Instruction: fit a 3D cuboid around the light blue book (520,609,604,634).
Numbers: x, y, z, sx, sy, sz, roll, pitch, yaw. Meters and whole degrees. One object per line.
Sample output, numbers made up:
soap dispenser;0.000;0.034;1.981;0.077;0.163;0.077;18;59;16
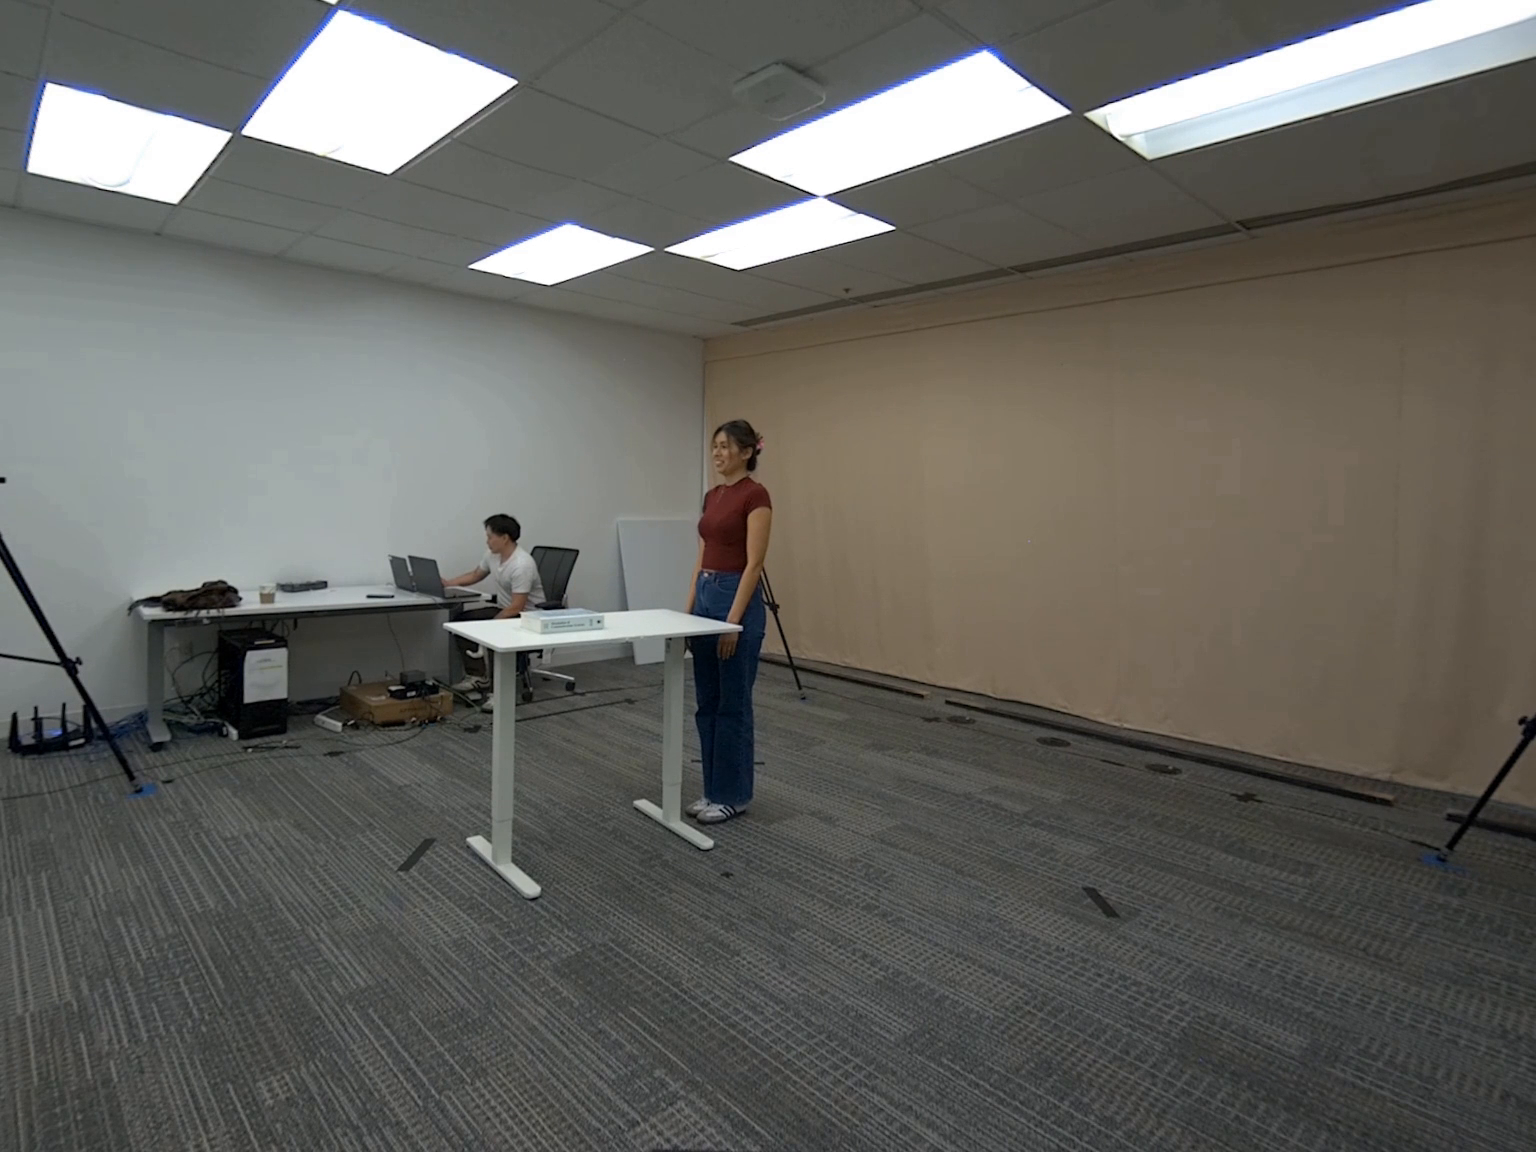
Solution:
light blue book;-0.799;0.171;3.194;0.255;0.059;0.196;-3;7;-39
